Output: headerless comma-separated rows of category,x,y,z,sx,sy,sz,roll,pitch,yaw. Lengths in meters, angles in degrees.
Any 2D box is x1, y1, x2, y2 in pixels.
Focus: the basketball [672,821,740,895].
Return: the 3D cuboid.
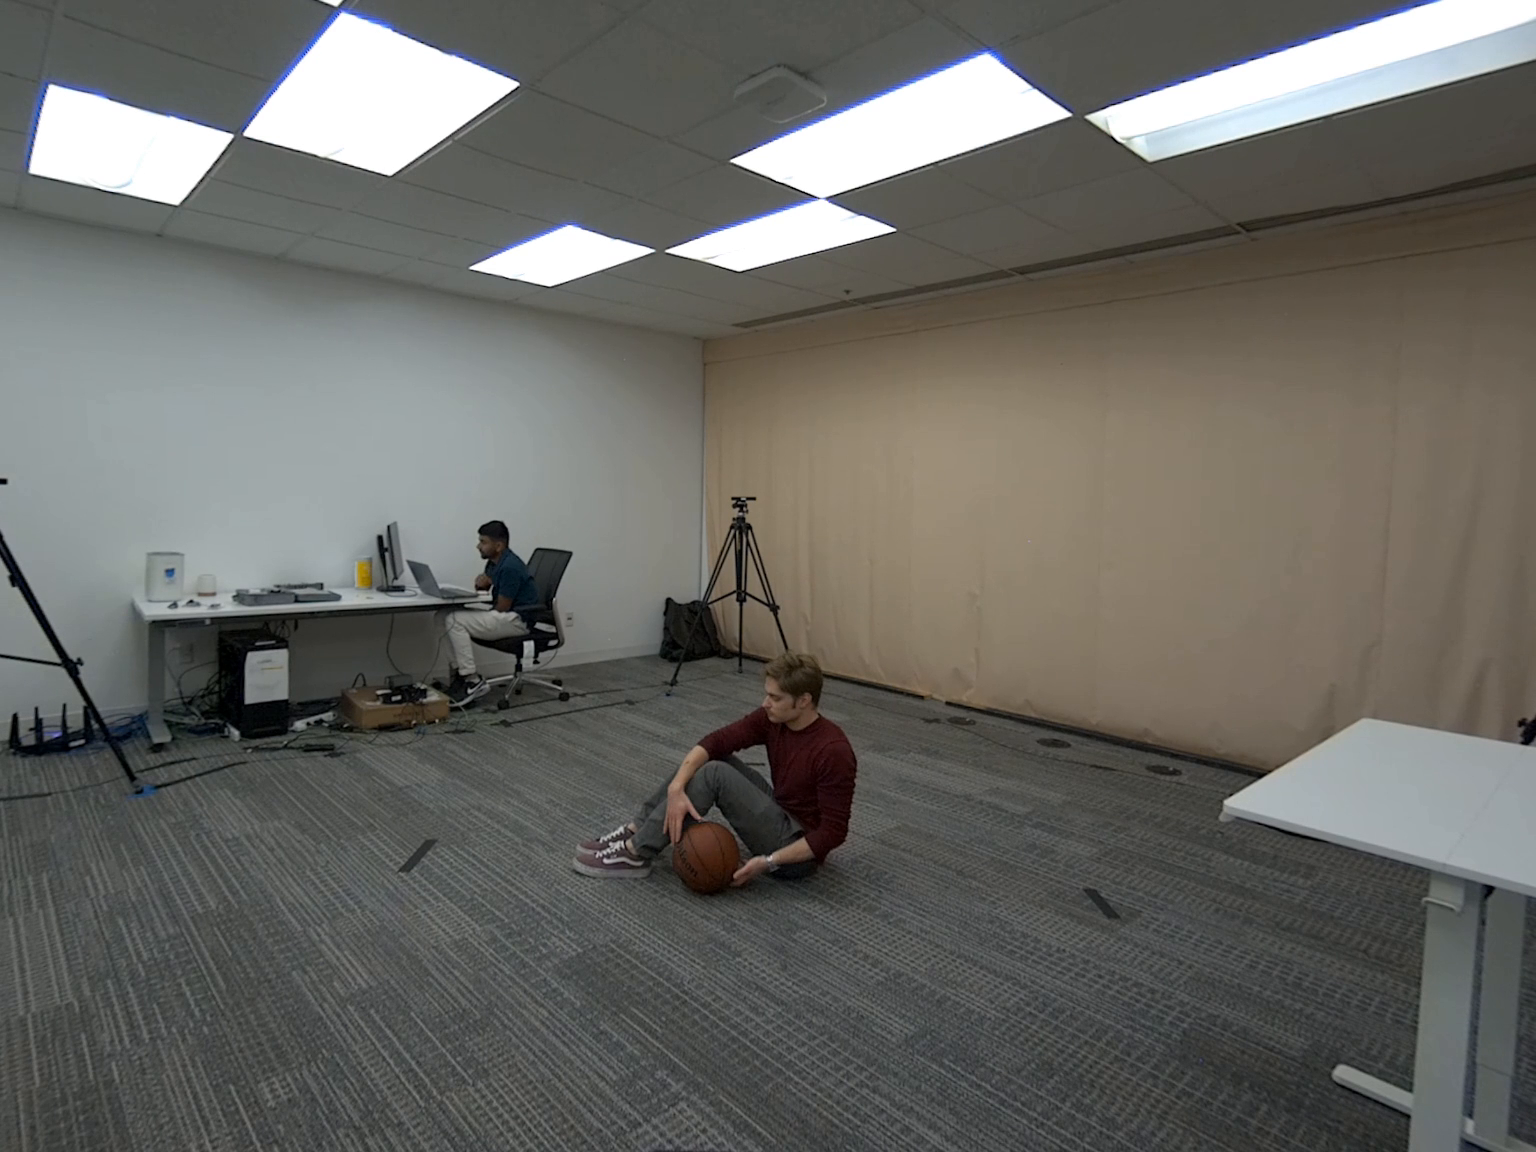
basketball,-0.224,0.998,2.991,0.236,0.235,0.237,1,4,-1
